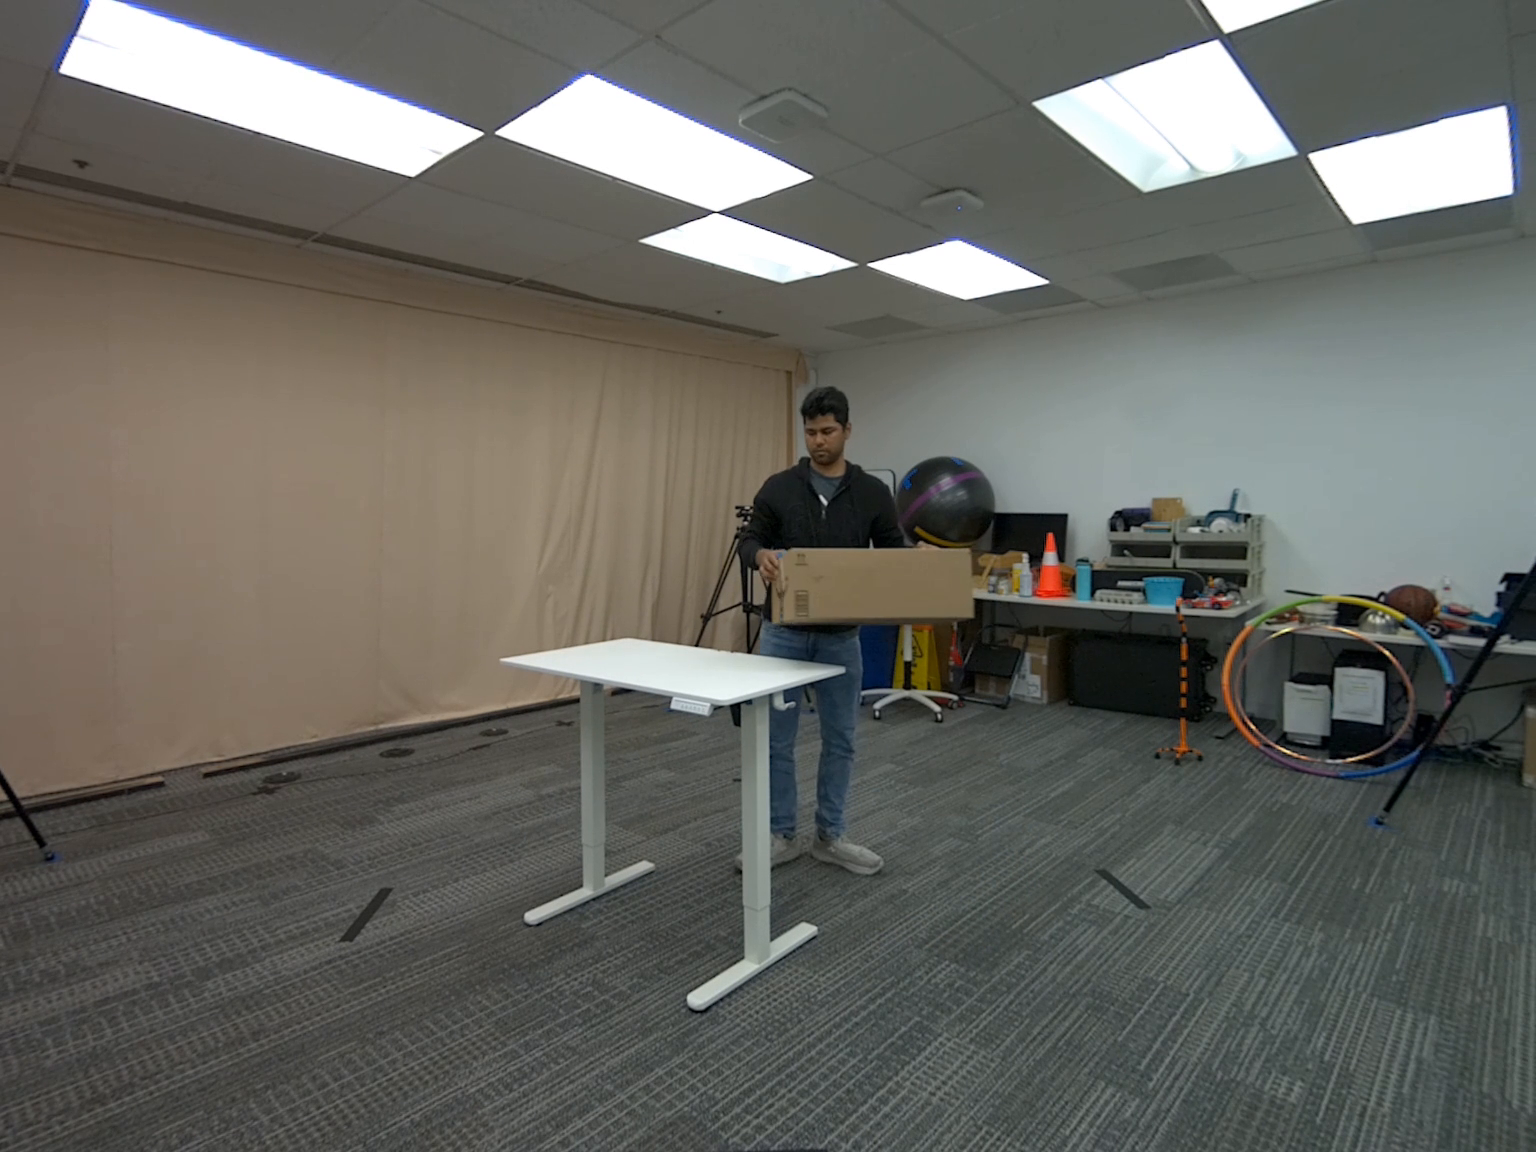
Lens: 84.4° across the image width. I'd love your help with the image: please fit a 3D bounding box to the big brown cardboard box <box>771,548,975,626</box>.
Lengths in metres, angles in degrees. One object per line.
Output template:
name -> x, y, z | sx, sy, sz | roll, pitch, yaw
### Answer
big brown cardboard box -> 0.317, 0.045, 2.776 | 0.584, 0.234, 0.419 | -1, -5, -8
